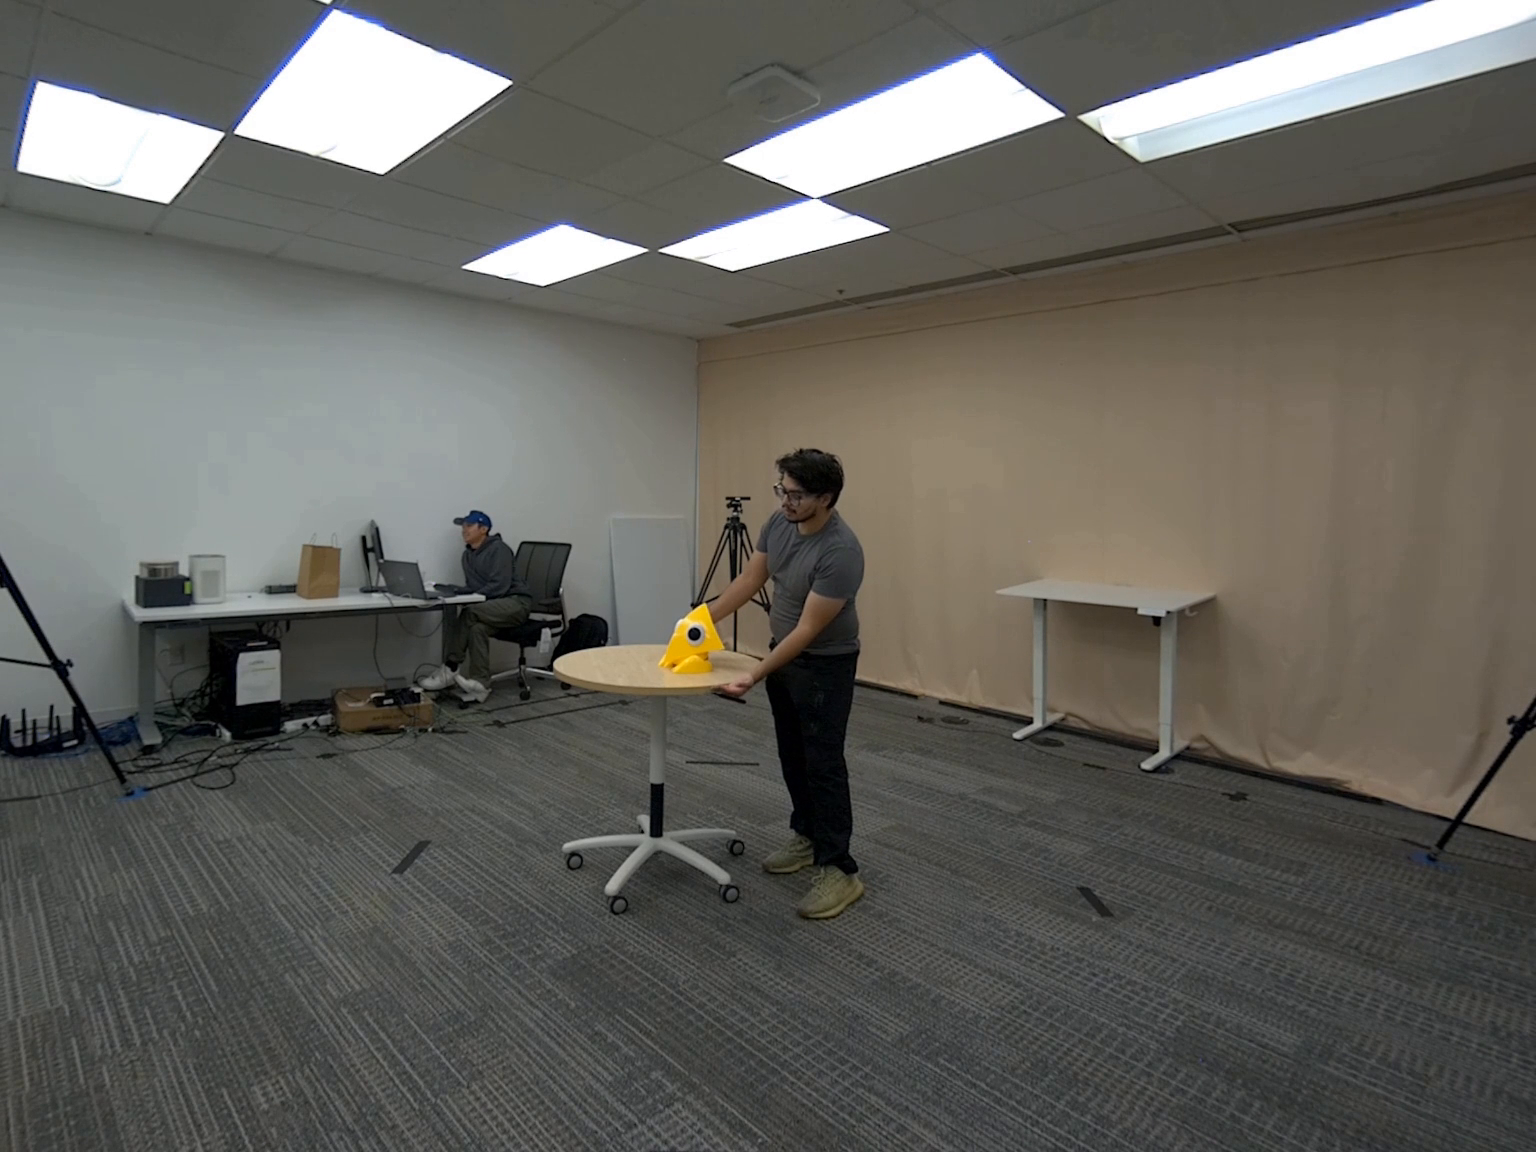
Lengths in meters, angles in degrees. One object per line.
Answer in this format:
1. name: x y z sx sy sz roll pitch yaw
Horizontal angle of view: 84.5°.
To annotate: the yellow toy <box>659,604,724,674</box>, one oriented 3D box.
1. yellow toy: -0.287 0.218 3.010 0.189 0.230 0.209 -1 5 -31
